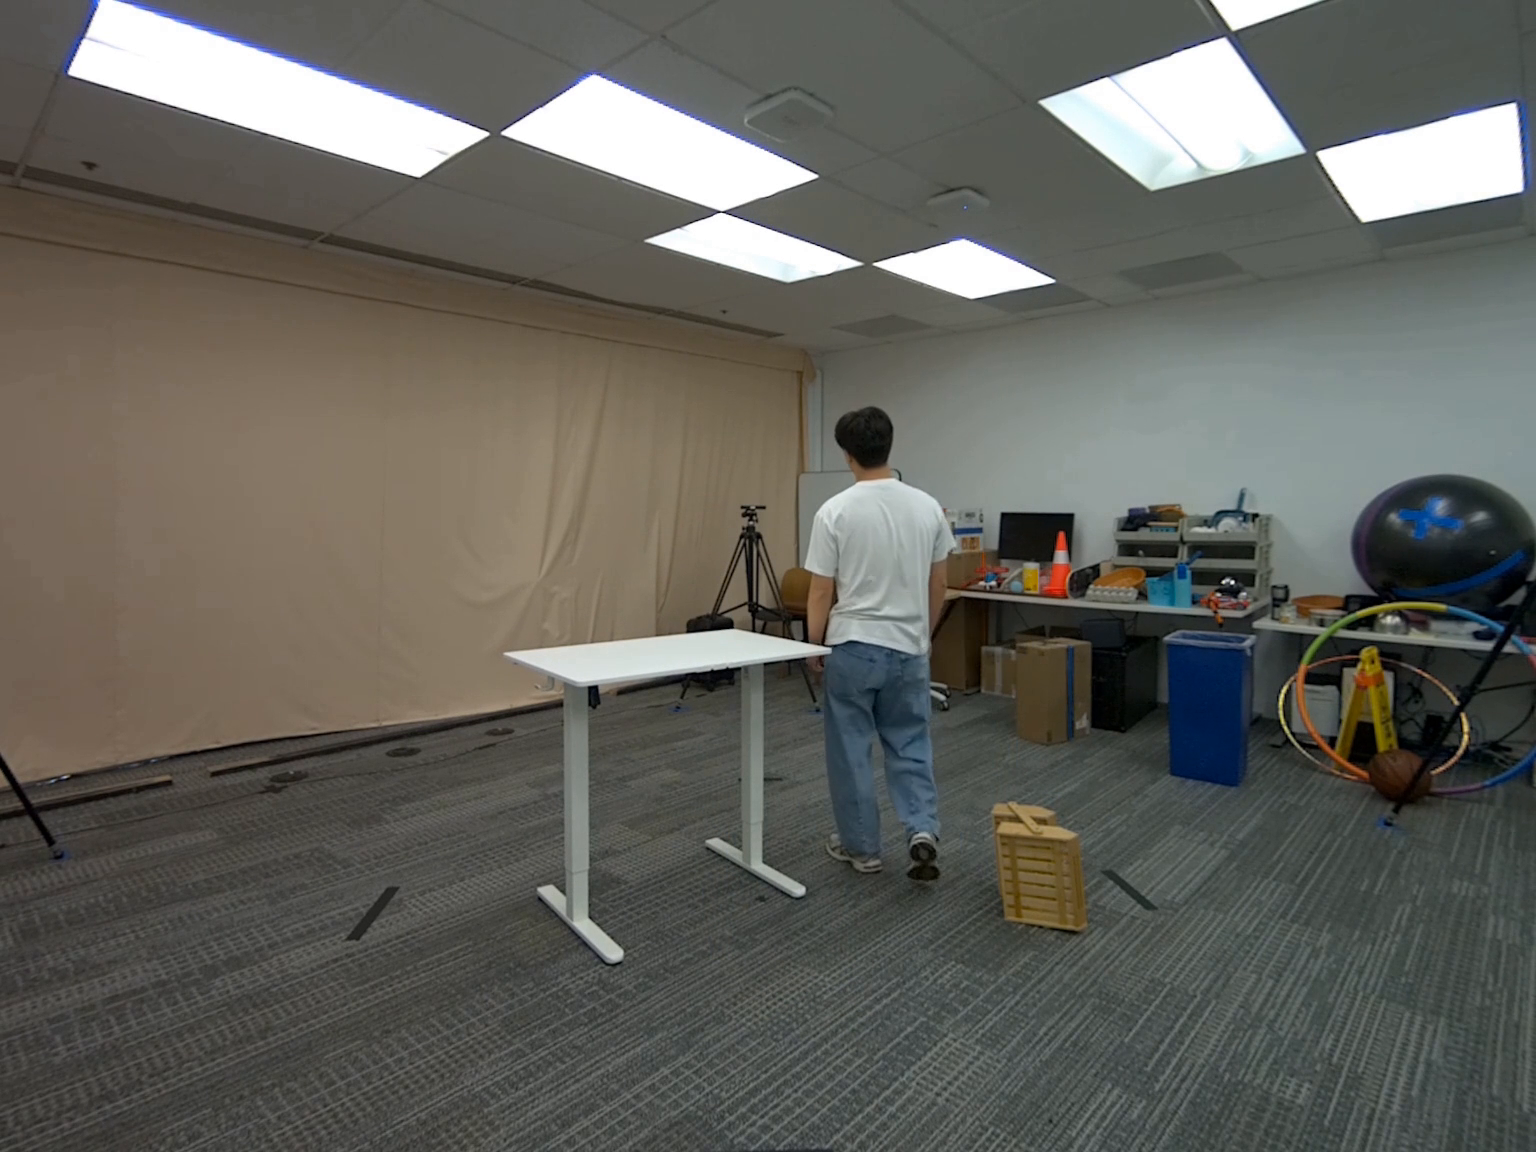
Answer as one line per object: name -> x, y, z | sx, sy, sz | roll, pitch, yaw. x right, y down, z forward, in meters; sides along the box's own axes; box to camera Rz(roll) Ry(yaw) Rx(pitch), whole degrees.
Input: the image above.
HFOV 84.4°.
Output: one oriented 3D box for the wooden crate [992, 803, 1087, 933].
wooden crate -> 0.934, 0.986, 2.885 | 0.310, 0.323, 0.267 | -3, 5, 27
